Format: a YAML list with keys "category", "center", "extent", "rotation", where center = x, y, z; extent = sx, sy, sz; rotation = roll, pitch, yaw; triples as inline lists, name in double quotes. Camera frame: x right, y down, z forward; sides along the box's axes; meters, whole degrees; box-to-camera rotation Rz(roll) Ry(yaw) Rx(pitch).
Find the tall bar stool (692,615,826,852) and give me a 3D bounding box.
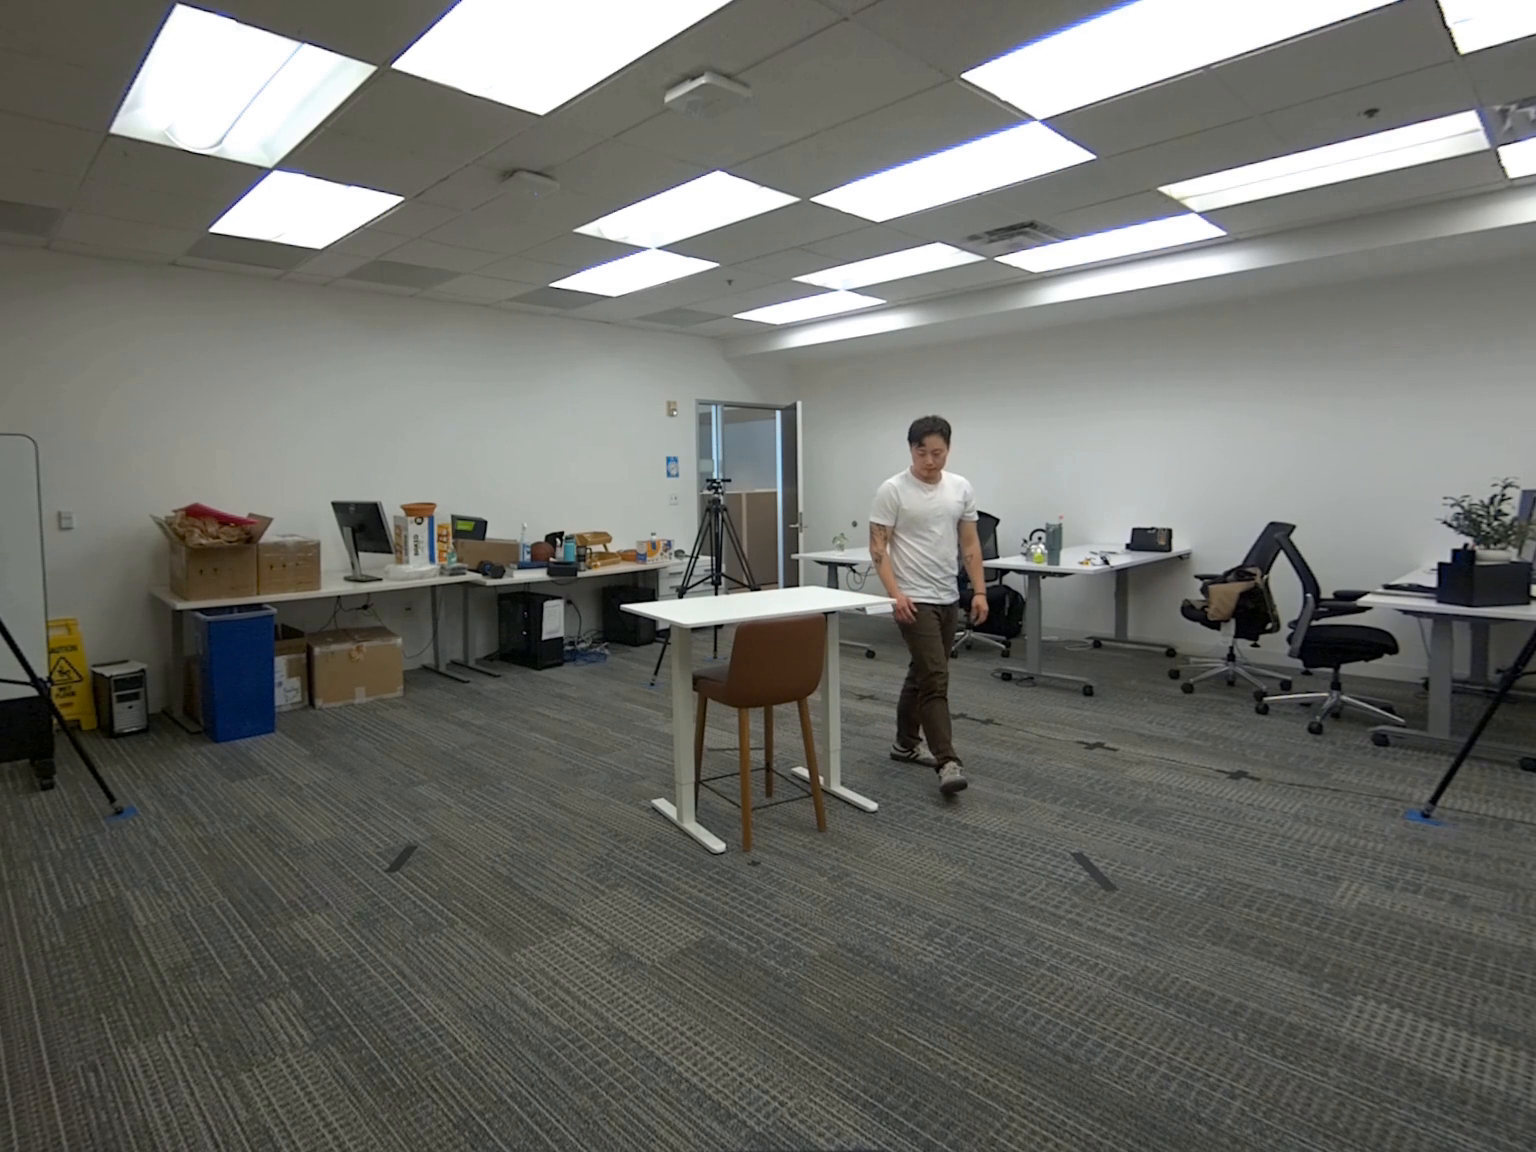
- category: "tall bar stool"
  center: [-0.042, 0.573, 3.449]
  extent: [0.446, 0.885, 0.481]
  rotation: [-2, 7, -30]
